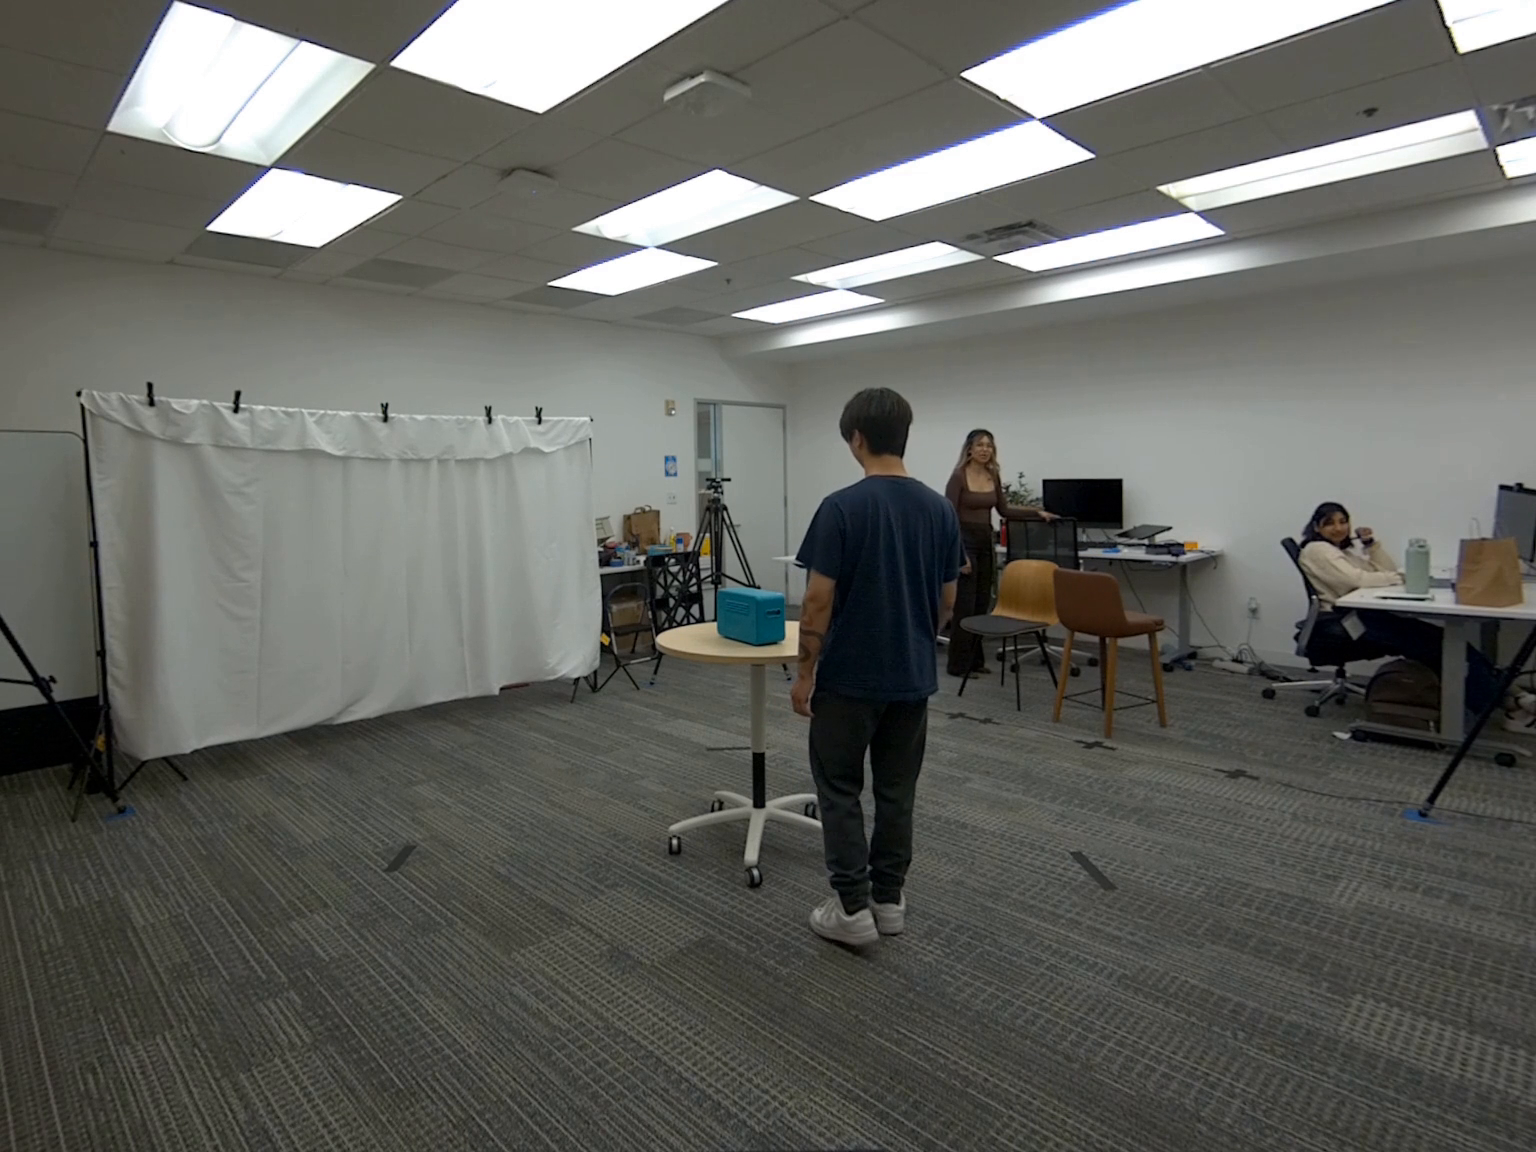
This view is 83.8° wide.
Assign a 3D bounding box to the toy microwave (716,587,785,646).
[{"bbox_3d":[-0.059,0.145,3.160,0.149,0.183,0.294,-4,6,-32],"label":"toy microwave"}]
